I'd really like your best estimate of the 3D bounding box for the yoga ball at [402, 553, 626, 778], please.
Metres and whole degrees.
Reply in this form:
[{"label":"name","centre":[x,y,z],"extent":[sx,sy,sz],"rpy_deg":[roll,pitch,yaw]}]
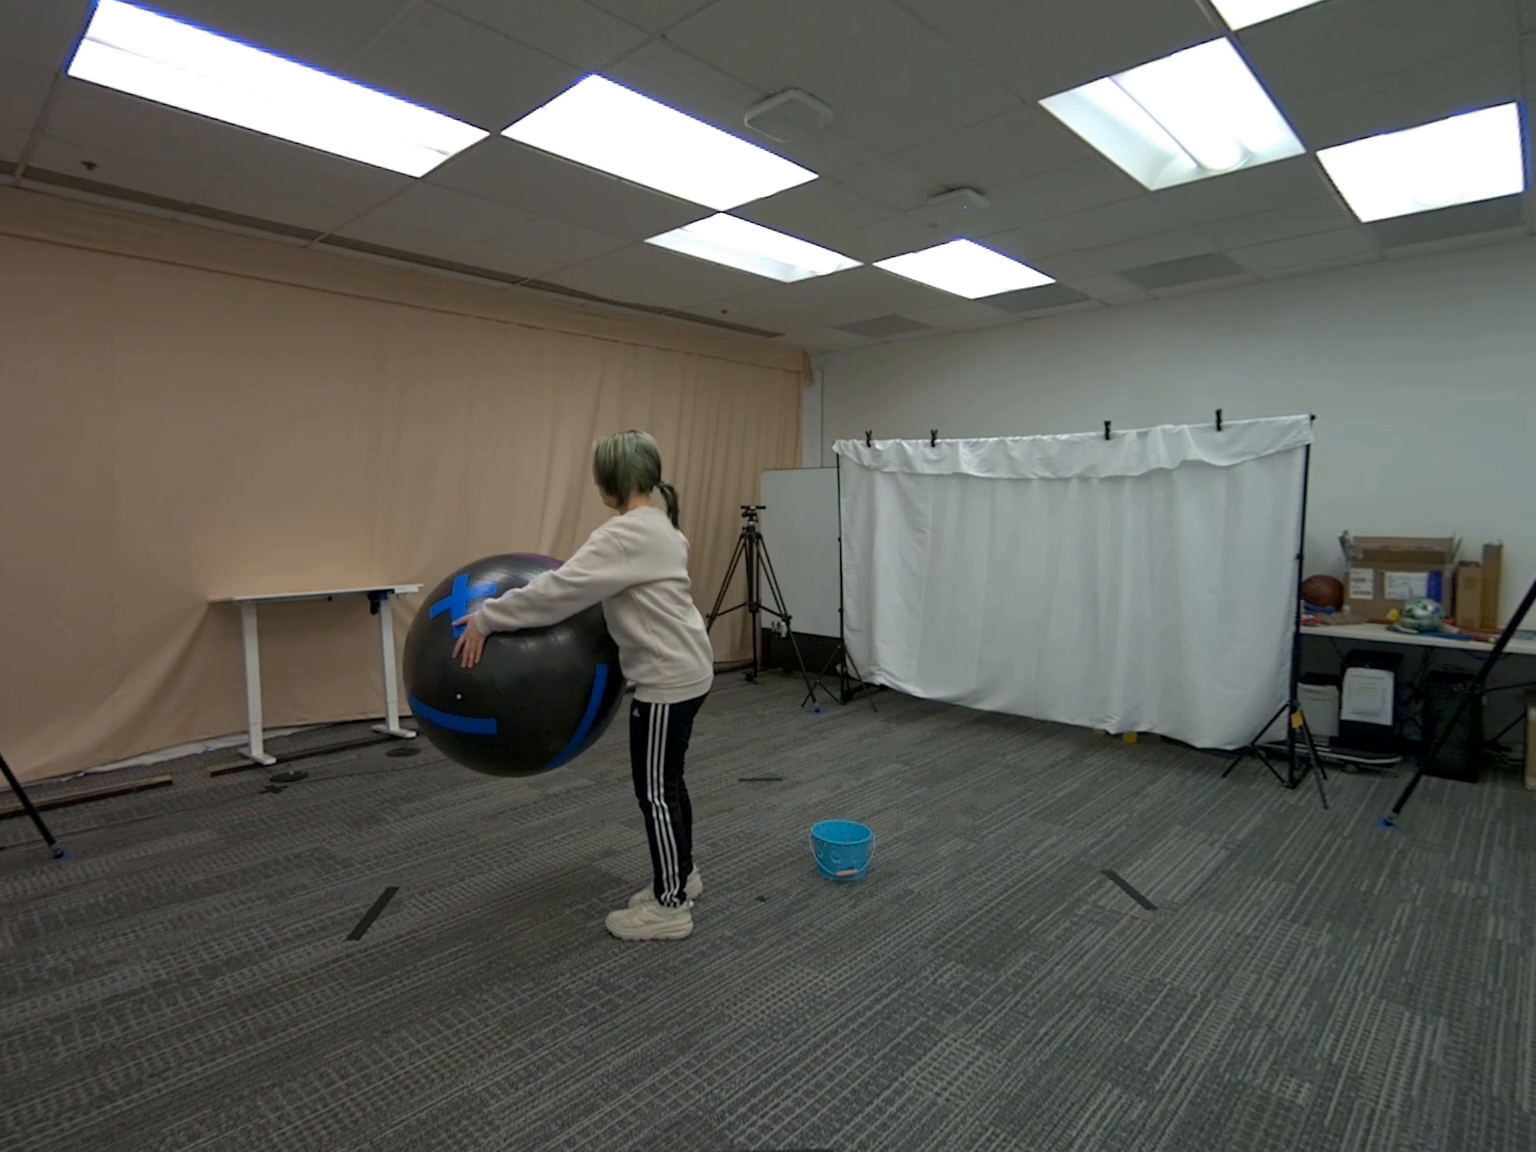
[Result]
[{"label":"yoga ball","centre":[-0.852,0.303,2.892],"extent":[0.757,0.756,0.761],"rpy_deg":[0,4,-2]}]
